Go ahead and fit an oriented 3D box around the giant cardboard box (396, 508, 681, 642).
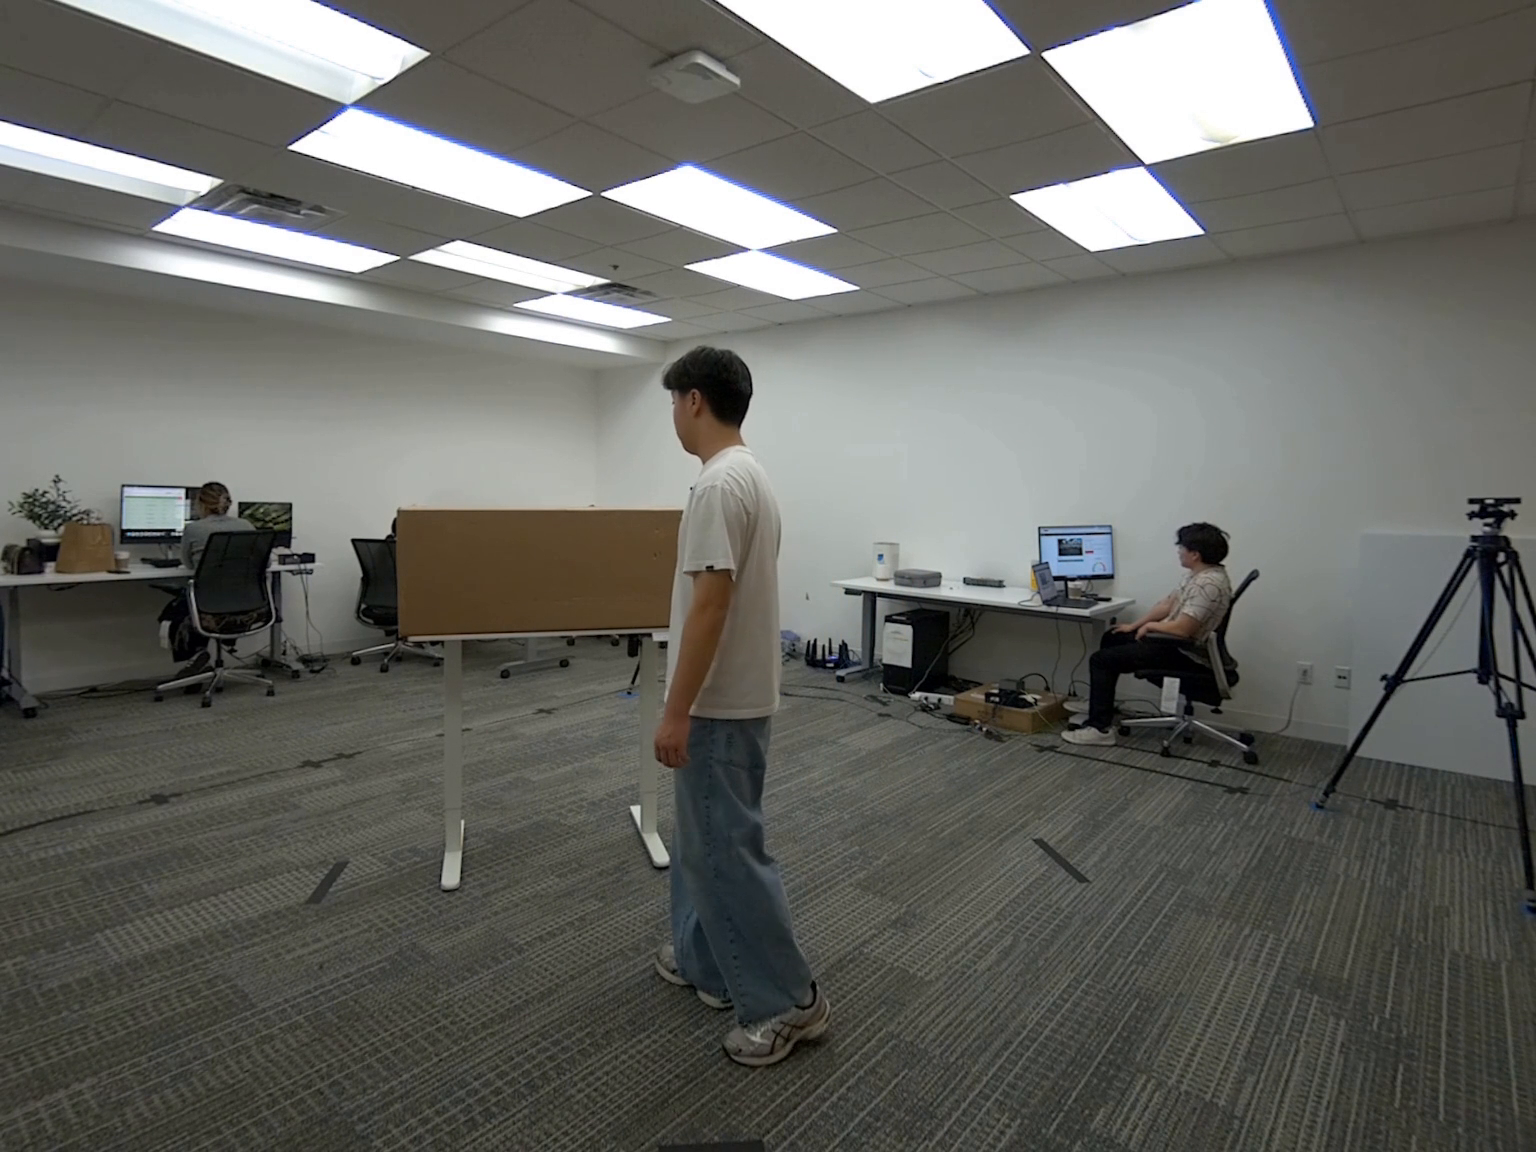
[{"bbox_3d":[-0.831,-0.045,3.193,1.011,0.424,0.589,-1,5,-15],"label":"giant cardboard box"}]
